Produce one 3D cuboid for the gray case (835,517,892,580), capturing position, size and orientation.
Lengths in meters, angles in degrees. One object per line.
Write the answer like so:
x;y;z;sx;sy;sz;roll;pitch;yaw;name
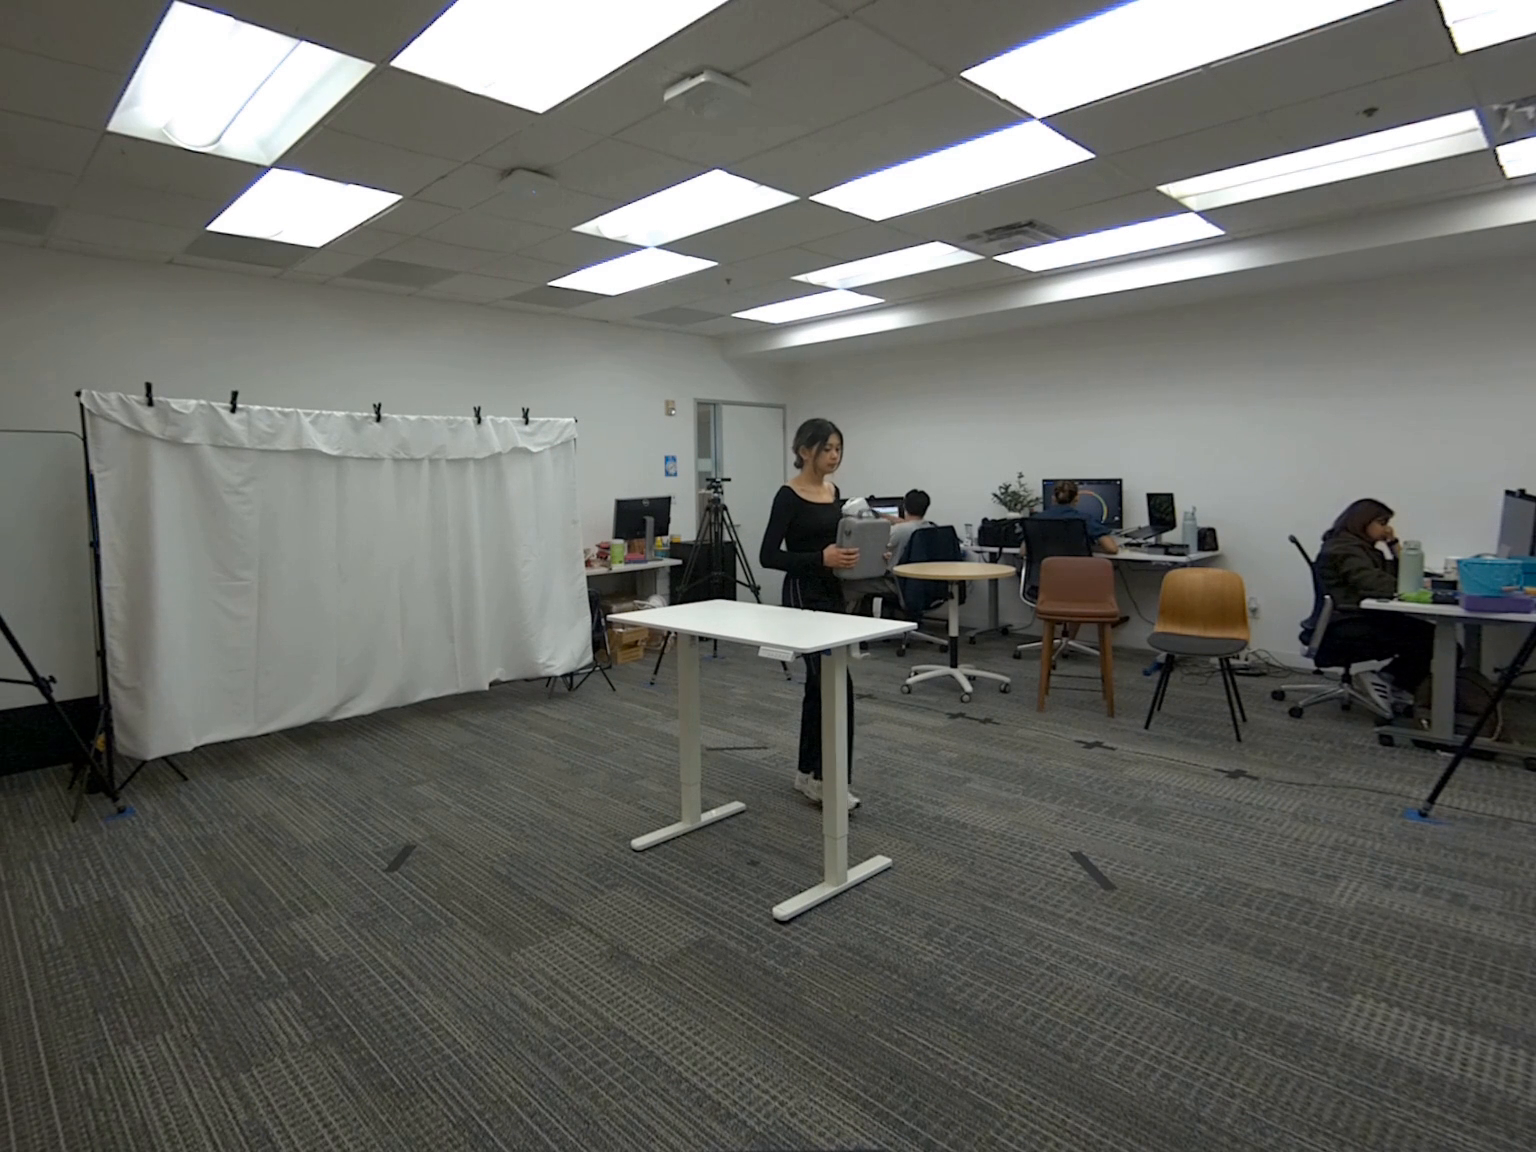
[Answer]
0.388;-0.120;3.553;0.250;0.258;0.108;-4;15;-45;gray case
